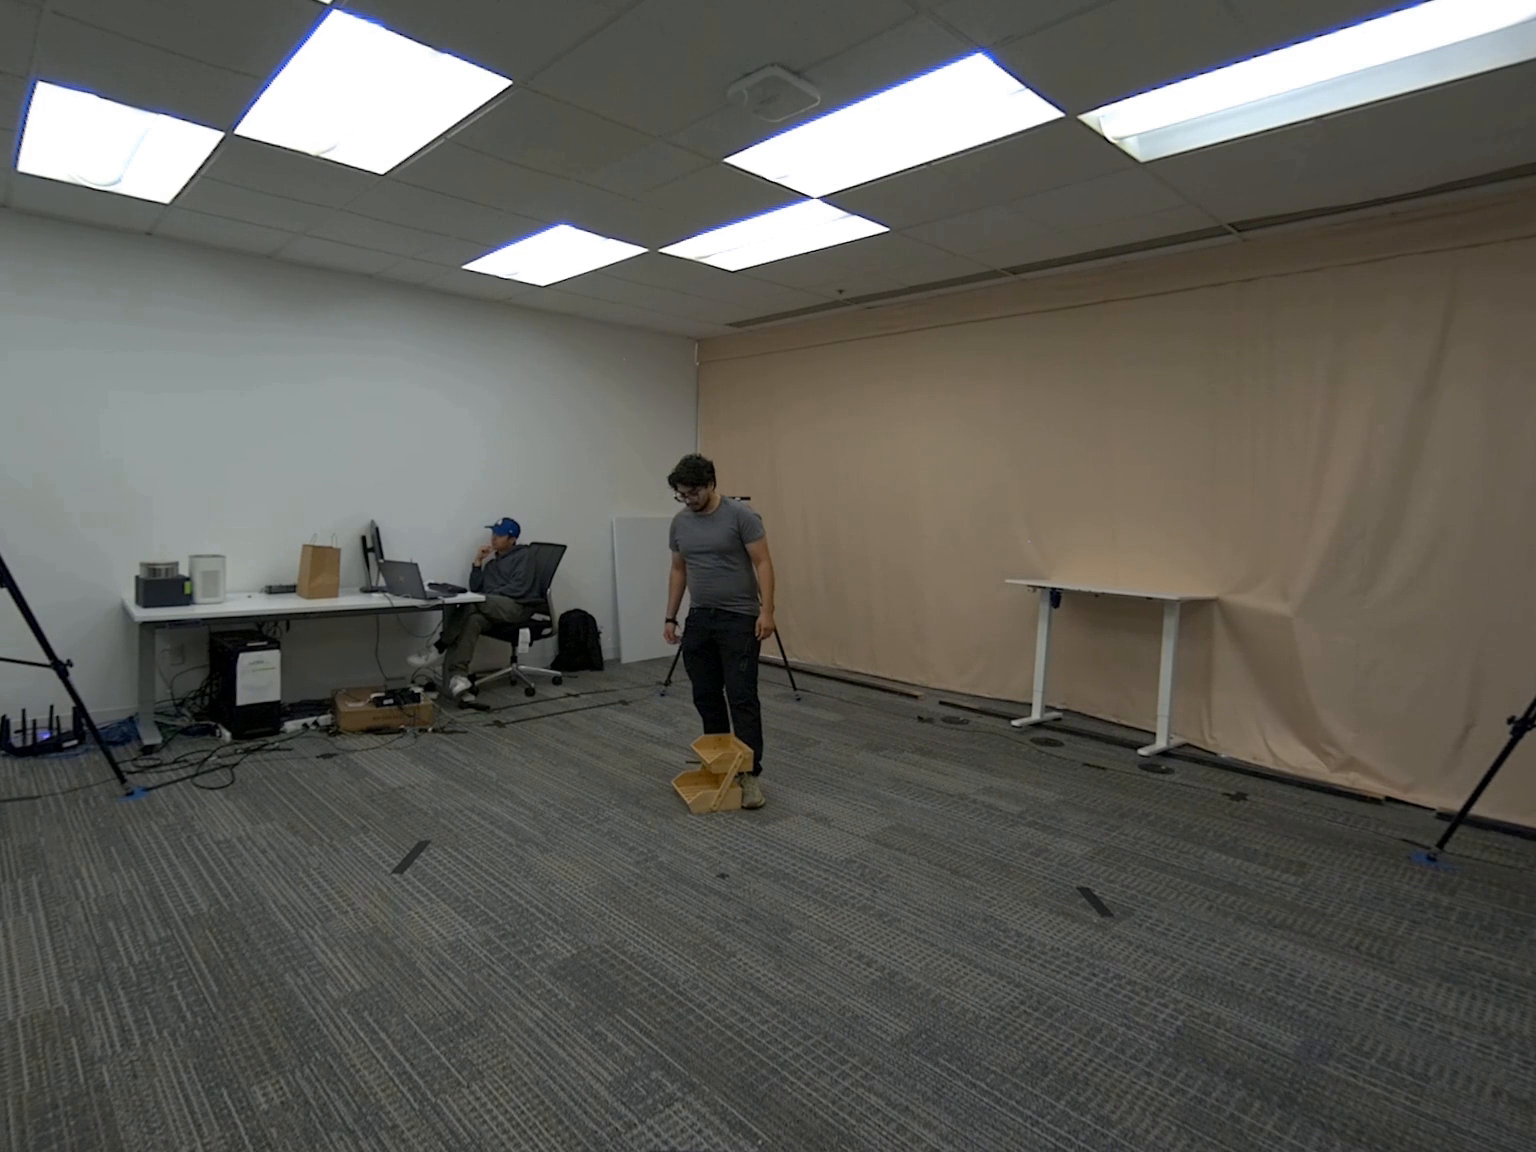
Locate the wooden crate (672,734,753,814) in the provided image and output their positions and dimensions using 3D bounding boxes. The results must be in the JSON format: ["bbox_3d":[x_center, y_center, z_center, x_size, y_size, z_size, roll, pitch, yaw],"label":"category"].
[{"bbox_3d":[-0.283,0.906,3.898,0.297,0.272,0.330,1,5,-20],"label":"wooden crate"}]
